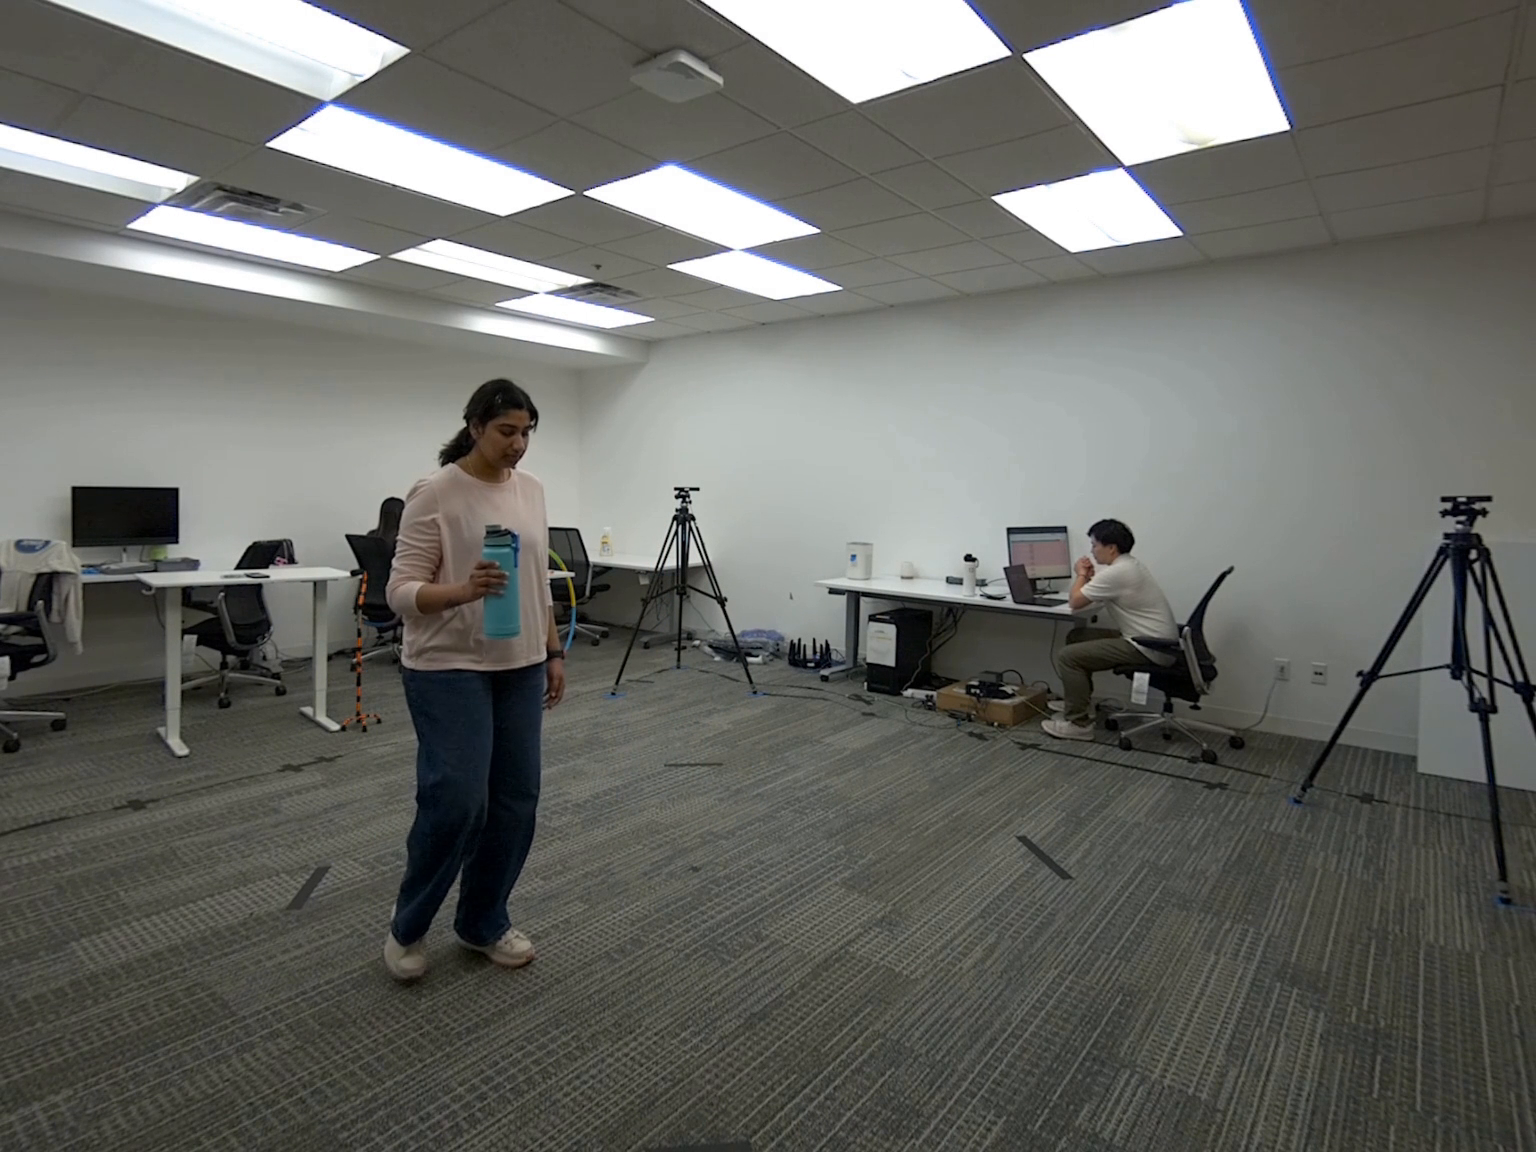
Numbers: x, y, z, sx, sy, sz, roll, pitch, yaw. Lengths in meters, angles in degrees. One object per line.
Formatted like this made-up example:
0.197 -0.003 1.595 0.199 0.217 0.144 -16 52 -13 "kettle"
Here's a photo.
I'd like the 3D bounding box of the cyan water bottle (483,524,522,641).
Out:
-0.684 0.010 2.143 0.092 0.283 0.093 1 3 -2 "cyan water bottle"
